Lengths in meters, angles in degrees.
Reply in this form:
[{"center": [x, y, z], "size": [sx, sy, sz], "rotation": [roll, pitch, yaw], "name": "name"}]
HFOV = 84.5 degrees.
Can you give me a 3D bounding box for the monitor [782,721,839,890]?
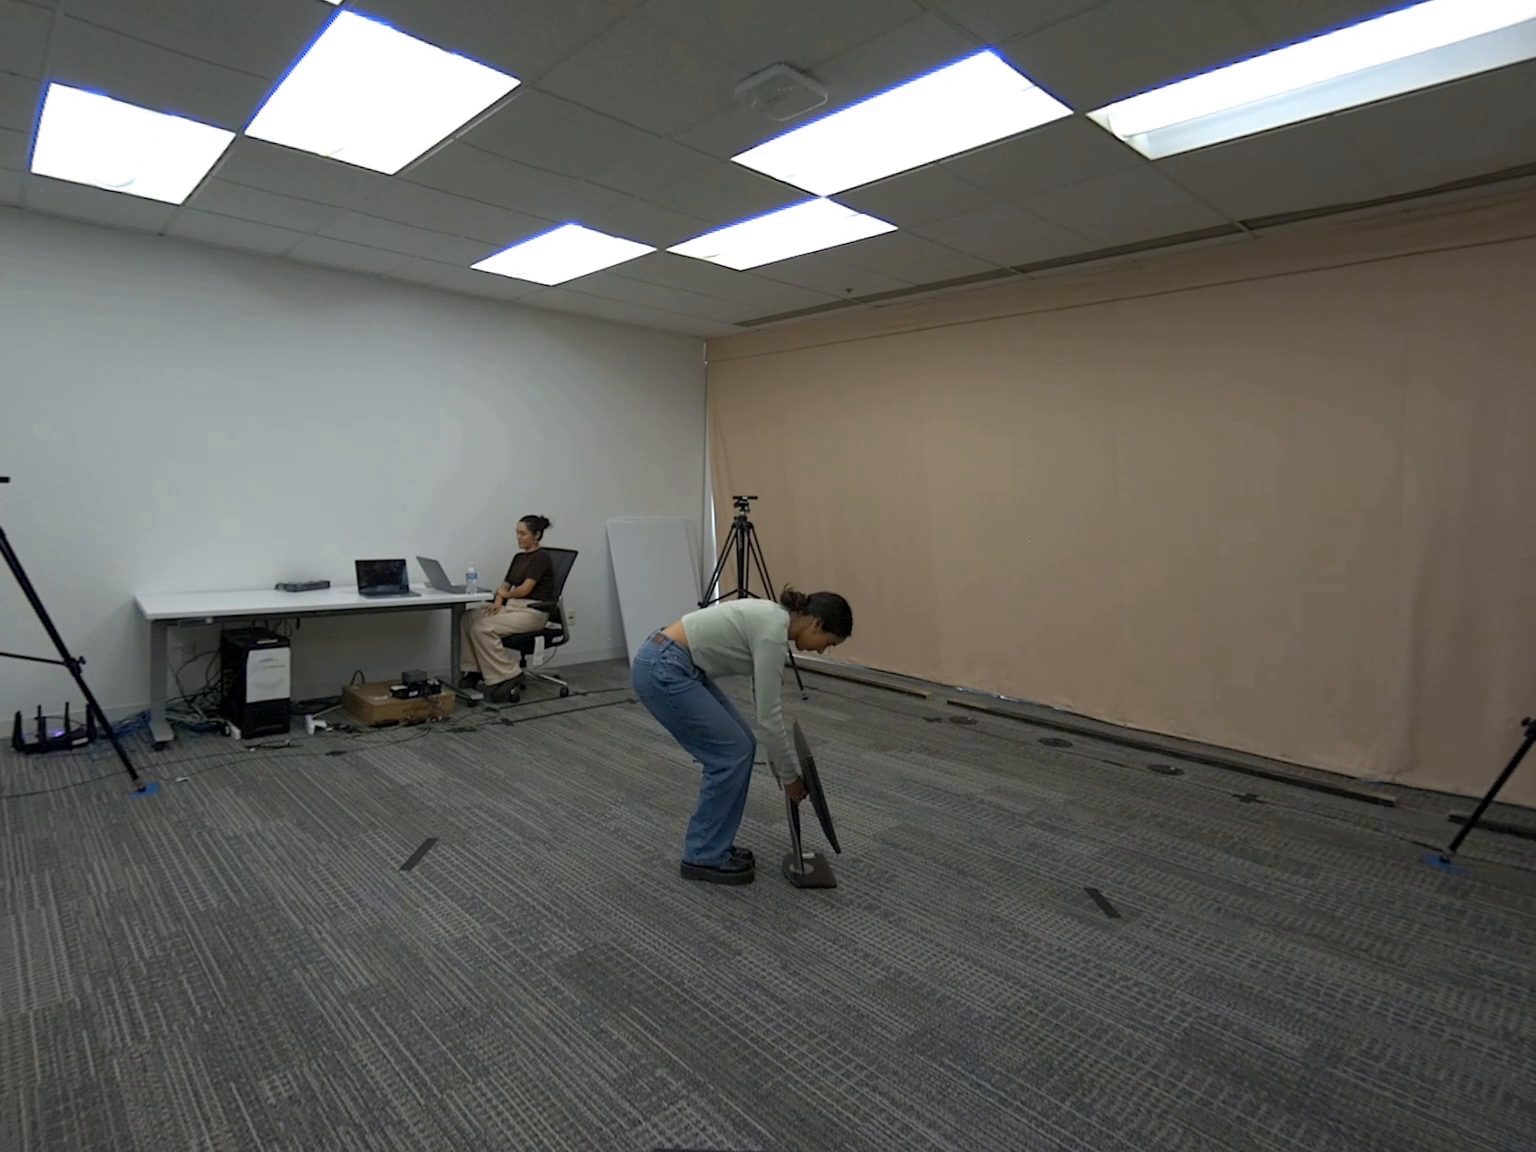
[{"center": [0.134, 0.853, 3.128], "size": [0.174, 0.515, 0.532], "rotation": [2, 3, -5], "name": "monitor"}]
